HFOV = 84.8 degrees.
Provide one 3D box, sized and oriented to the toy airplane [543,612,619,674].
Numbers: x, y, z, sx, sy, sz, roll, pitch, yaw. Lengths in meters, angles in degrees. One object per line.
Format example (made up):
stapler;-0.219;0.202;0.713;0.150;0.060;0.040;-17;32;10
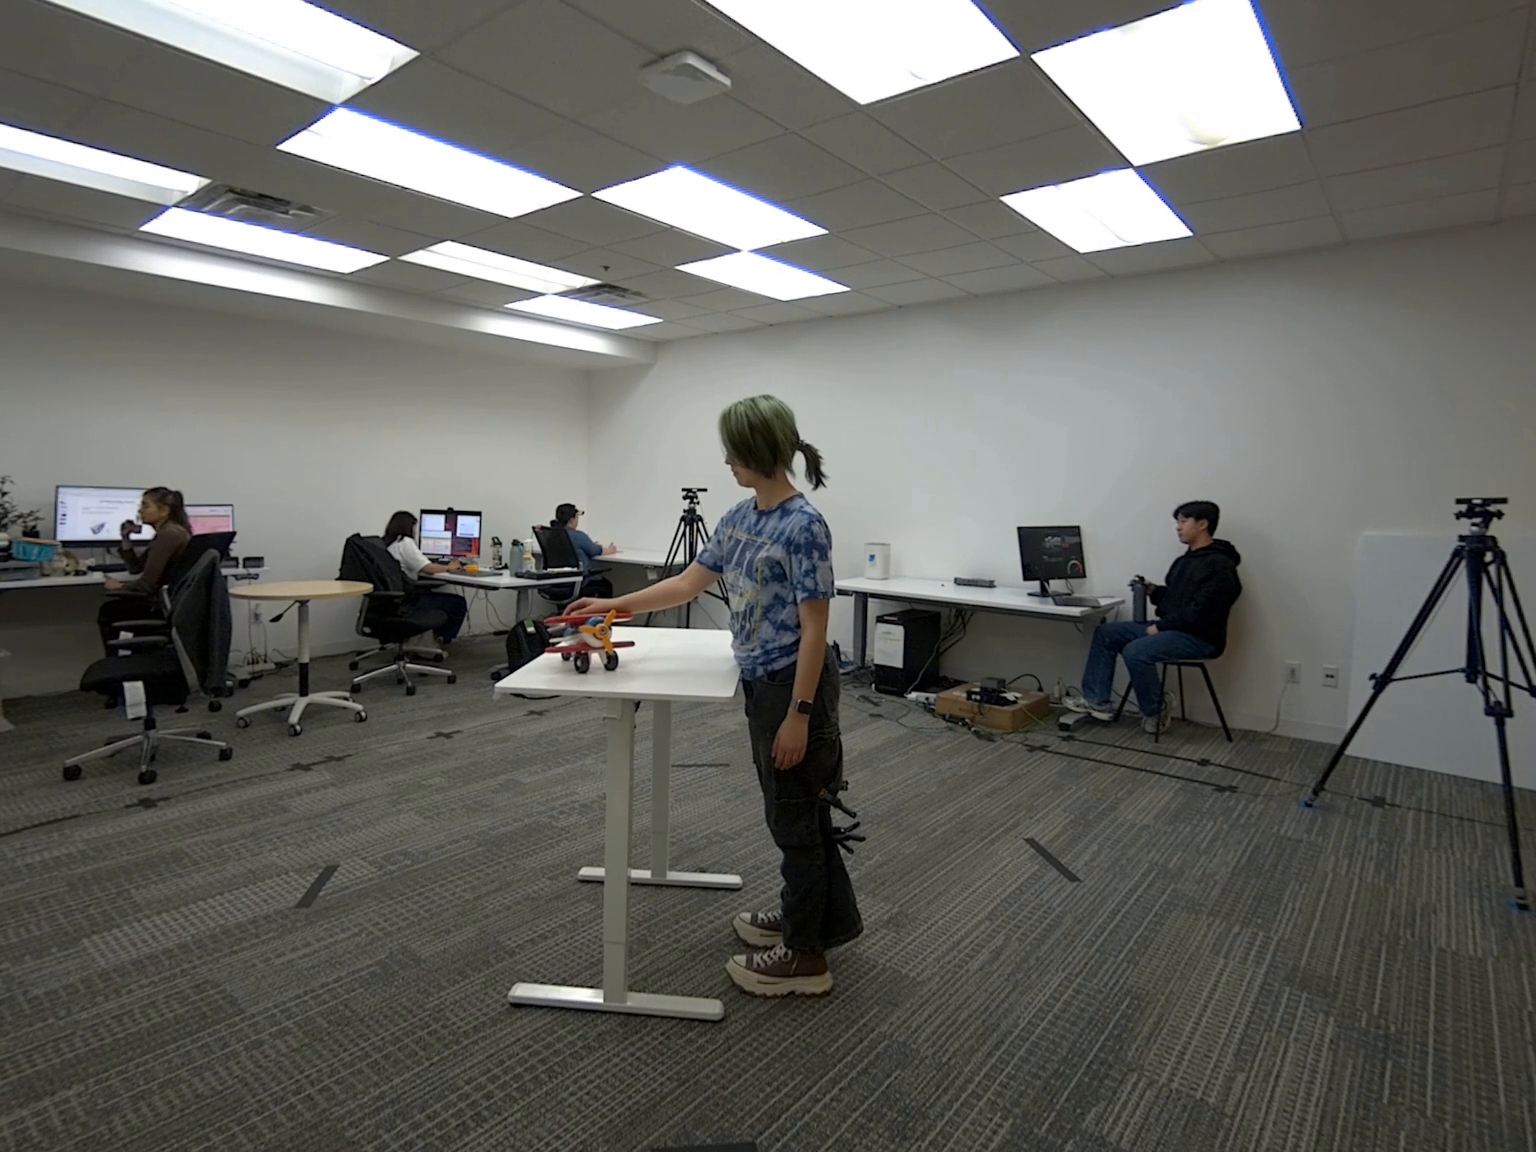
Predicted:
toy airplane;-0.539;0.177;2.382;0.267;0.156;0.245;5;6;28
